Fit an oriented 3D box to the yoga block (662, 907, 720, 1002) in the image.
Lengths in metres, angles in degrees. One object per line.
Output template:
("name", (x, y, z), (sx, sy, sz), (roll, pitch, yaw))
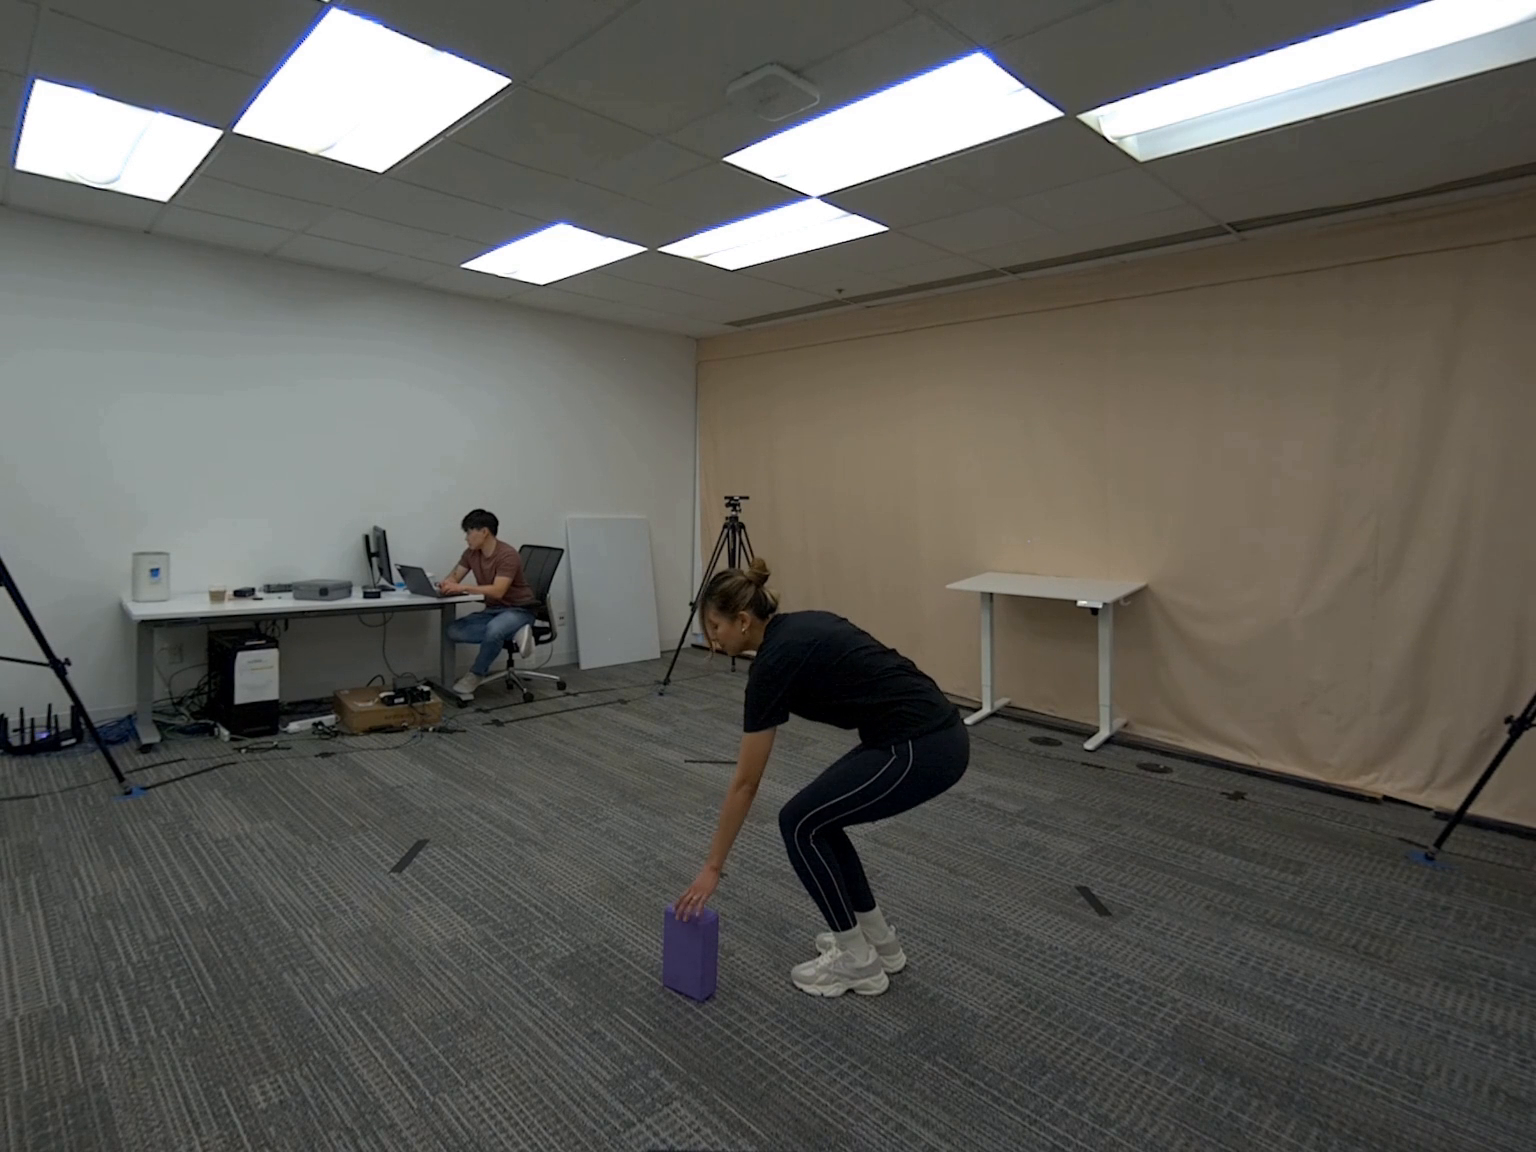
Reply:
("yoga block", (-0.220, 1.045, 2.378), (0.152, 0.229, 0.075), (1, 2, 31))
